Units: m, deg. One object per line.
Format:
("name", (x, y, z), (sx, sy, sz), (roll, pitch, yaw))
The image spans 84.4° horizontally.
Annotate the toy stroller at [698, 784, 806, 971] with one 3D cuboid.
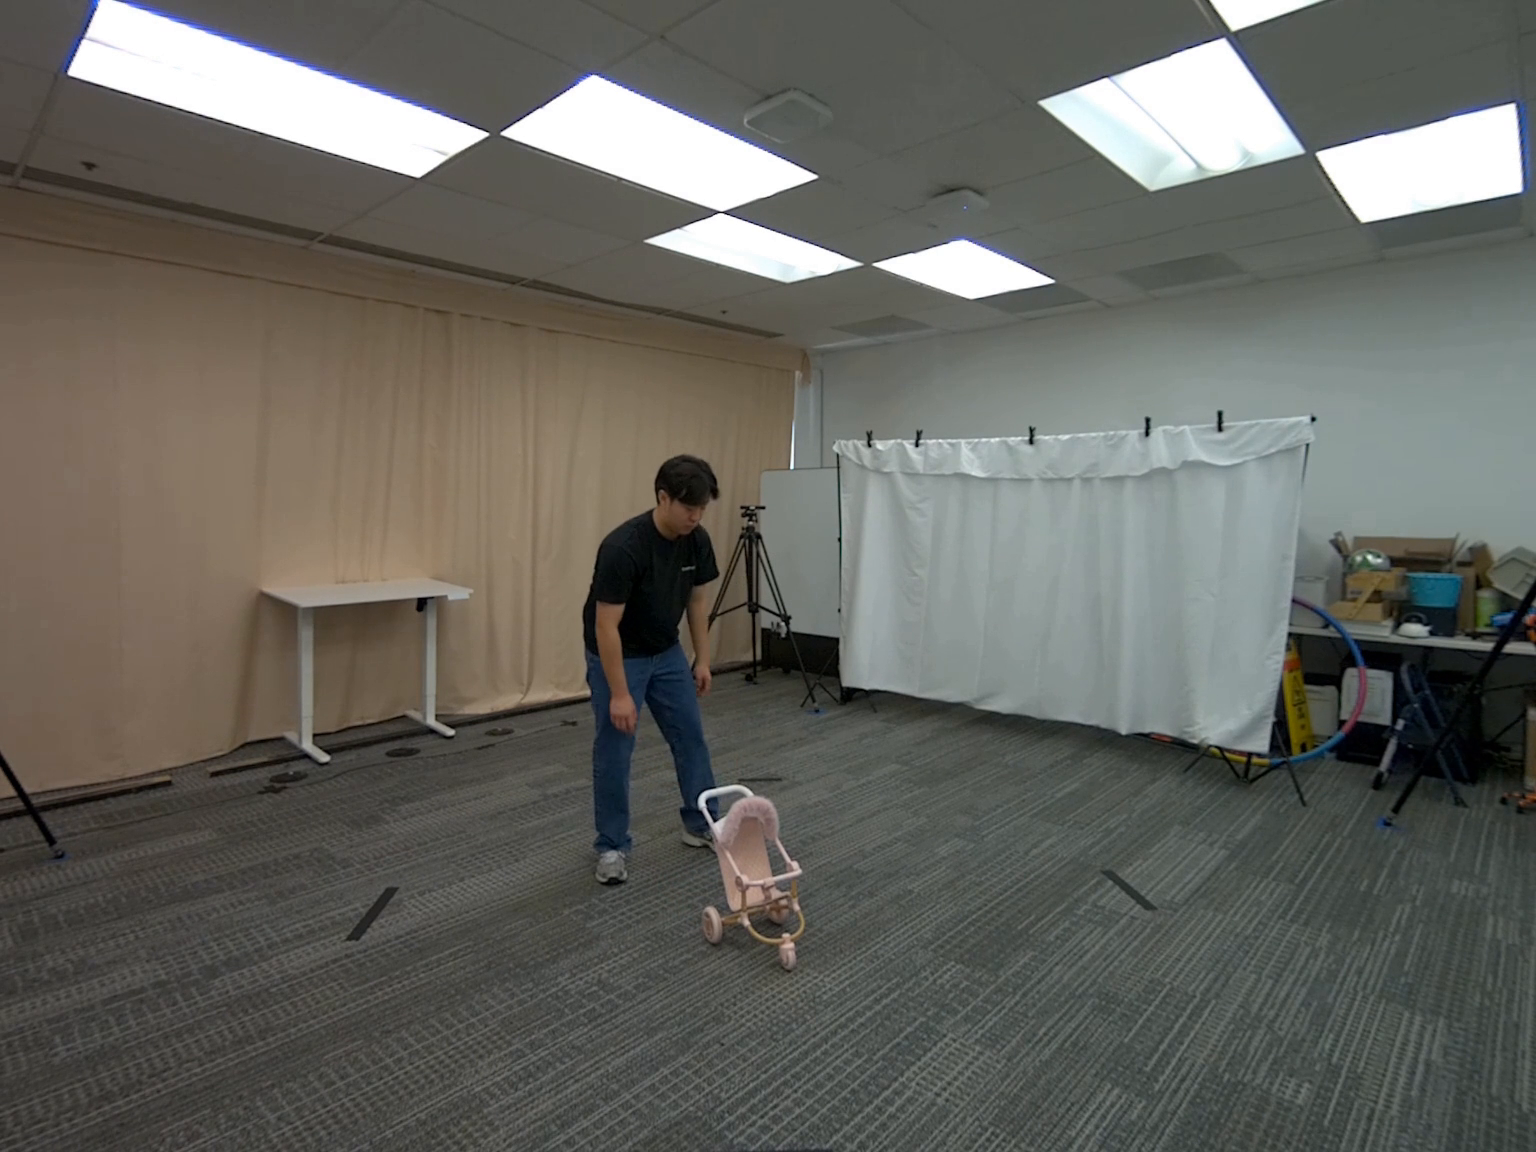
("toy stroller", (-0.039, 0.948, 2.683), (0.274, 0.540, 0.347), (-1, -13, -26))
